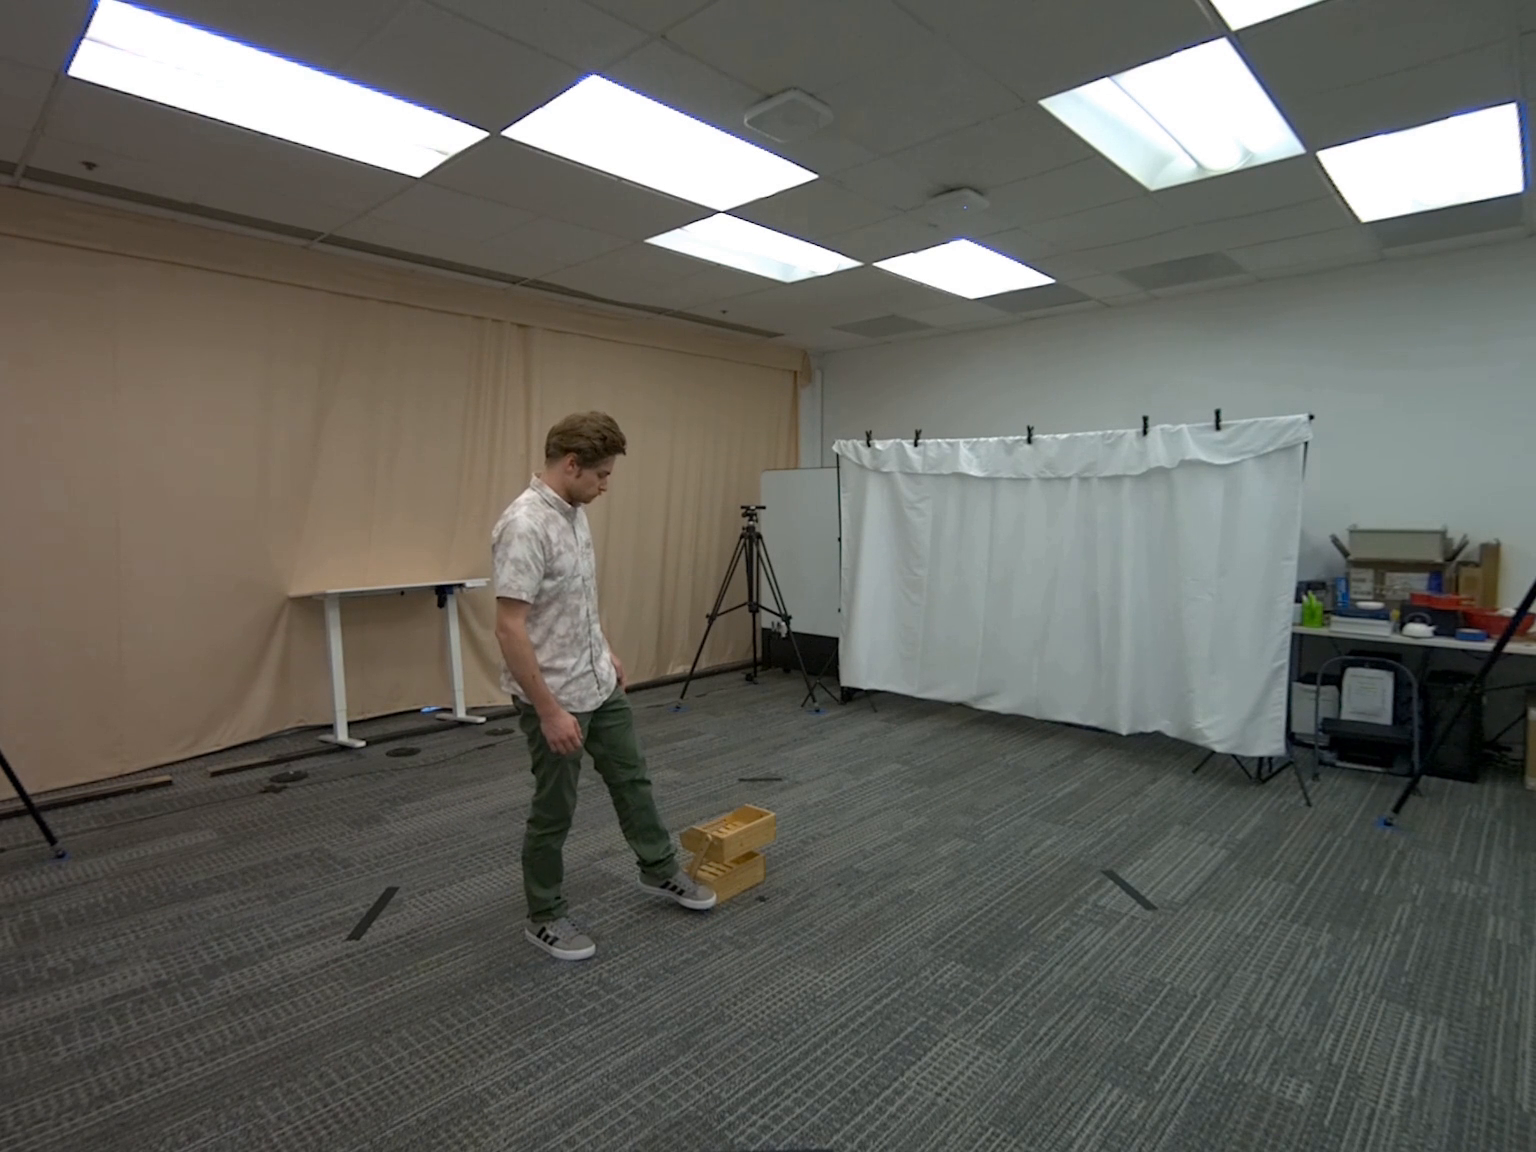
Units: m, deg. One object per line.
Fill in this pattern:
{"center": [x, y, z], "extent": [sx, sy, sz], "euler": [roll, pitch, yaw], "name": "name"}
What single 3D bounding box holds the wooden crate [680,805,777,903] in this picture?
{"center": [-0.183, 1.000, 3.083], "extent": [0.312, 0.272, 0.315], "euler": [4, 6, 40], "name": "wooden crate"}
